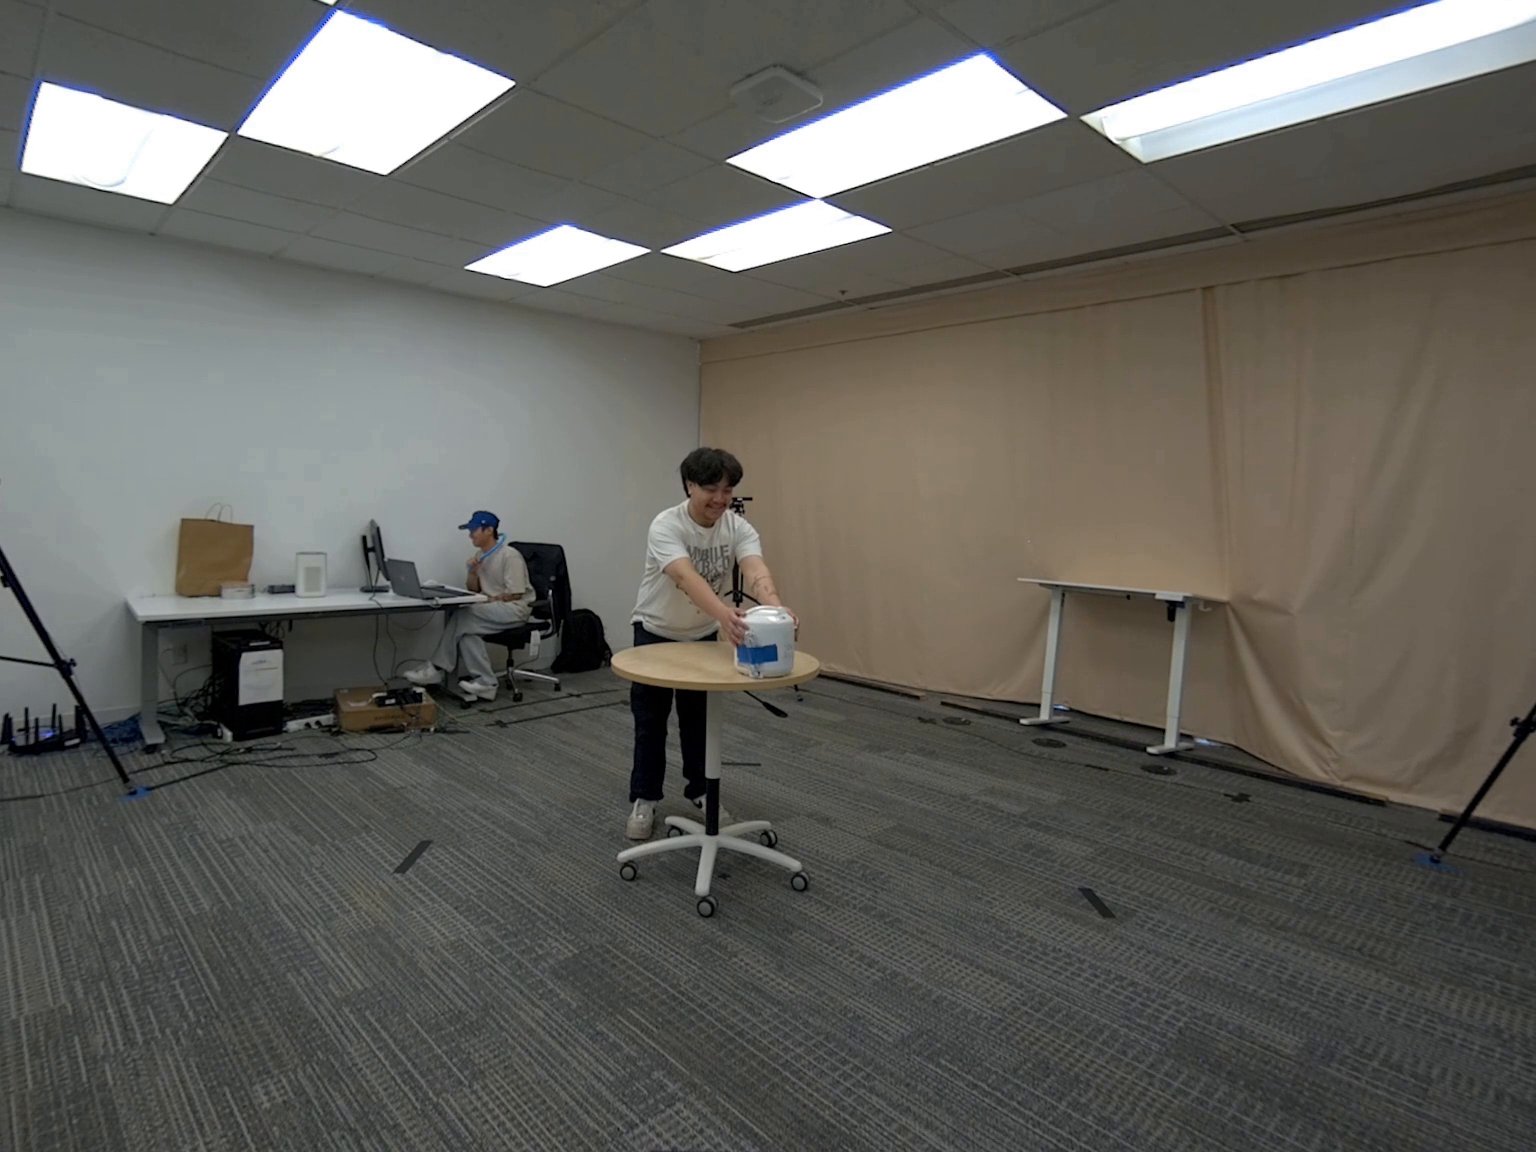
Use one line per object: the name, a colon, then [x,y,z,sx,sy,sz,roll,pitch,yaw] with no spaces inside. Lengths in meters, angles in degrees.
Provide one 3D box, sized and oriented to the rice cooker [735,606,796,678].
rice cooker: [-0.022,0.220,2.889,0.216,0.232,0.222,2,5,-26]
